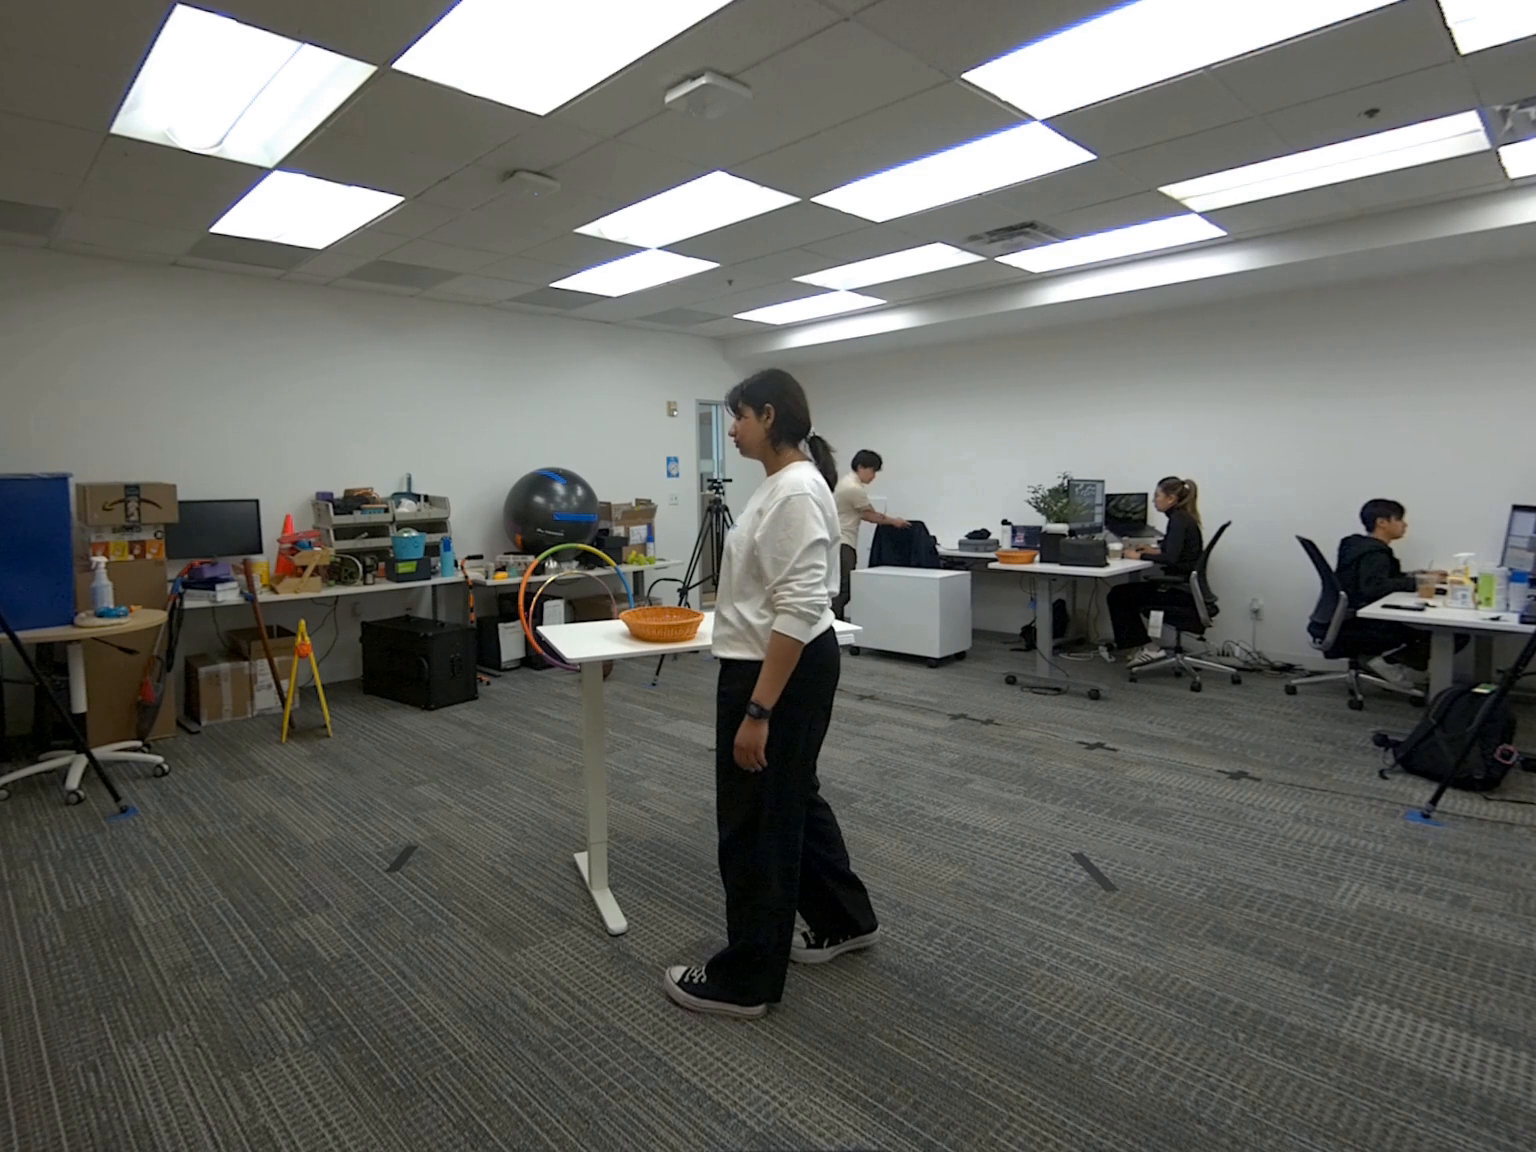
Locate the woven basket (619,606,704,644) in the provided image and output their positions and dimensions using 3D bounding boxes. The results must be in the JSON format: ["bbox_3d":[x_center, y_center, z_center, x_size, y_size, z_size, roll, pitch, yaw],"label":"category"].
[{"bbox_3d":[-0.347,0.165,2.844,0.246,0.073,0.360,-6,8,-32],"label":"woven basket"}]
